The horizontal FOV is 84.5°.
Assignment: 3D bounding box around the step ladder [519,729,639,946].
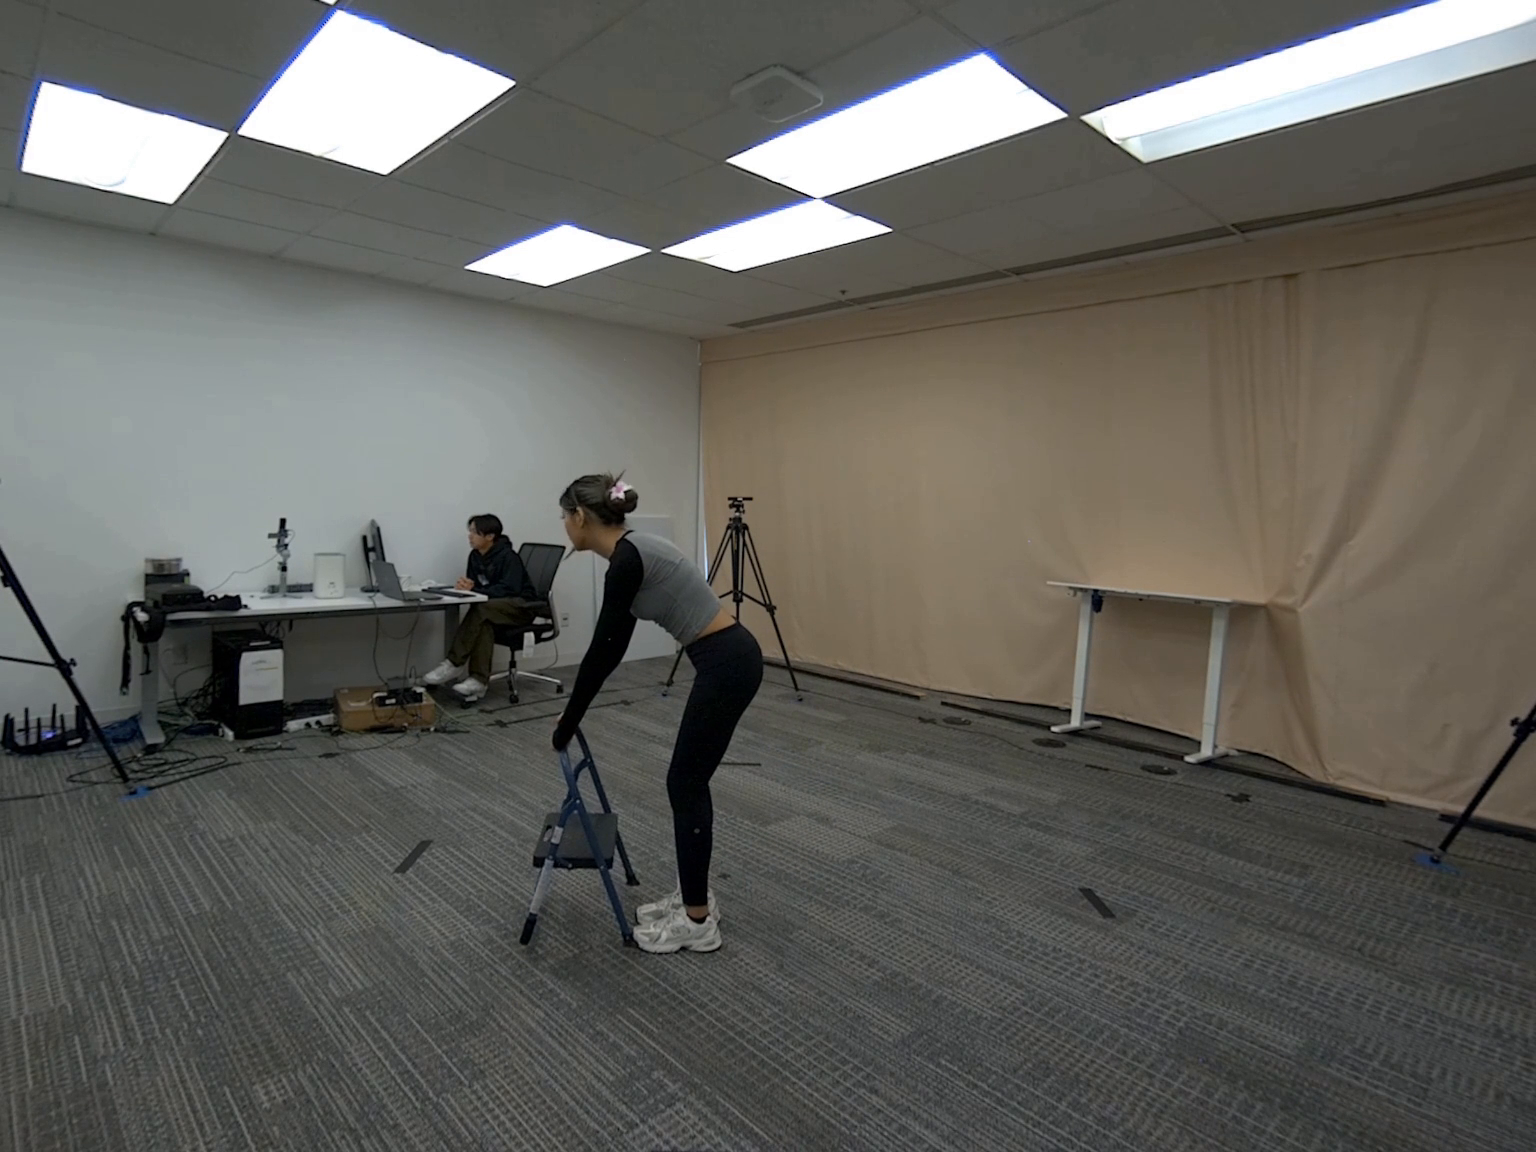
[{"bbox_3d":[-0.589,0.789,2.705,0.347,0.604,0.434,2,4,-7],"label":"step ladder"}]
